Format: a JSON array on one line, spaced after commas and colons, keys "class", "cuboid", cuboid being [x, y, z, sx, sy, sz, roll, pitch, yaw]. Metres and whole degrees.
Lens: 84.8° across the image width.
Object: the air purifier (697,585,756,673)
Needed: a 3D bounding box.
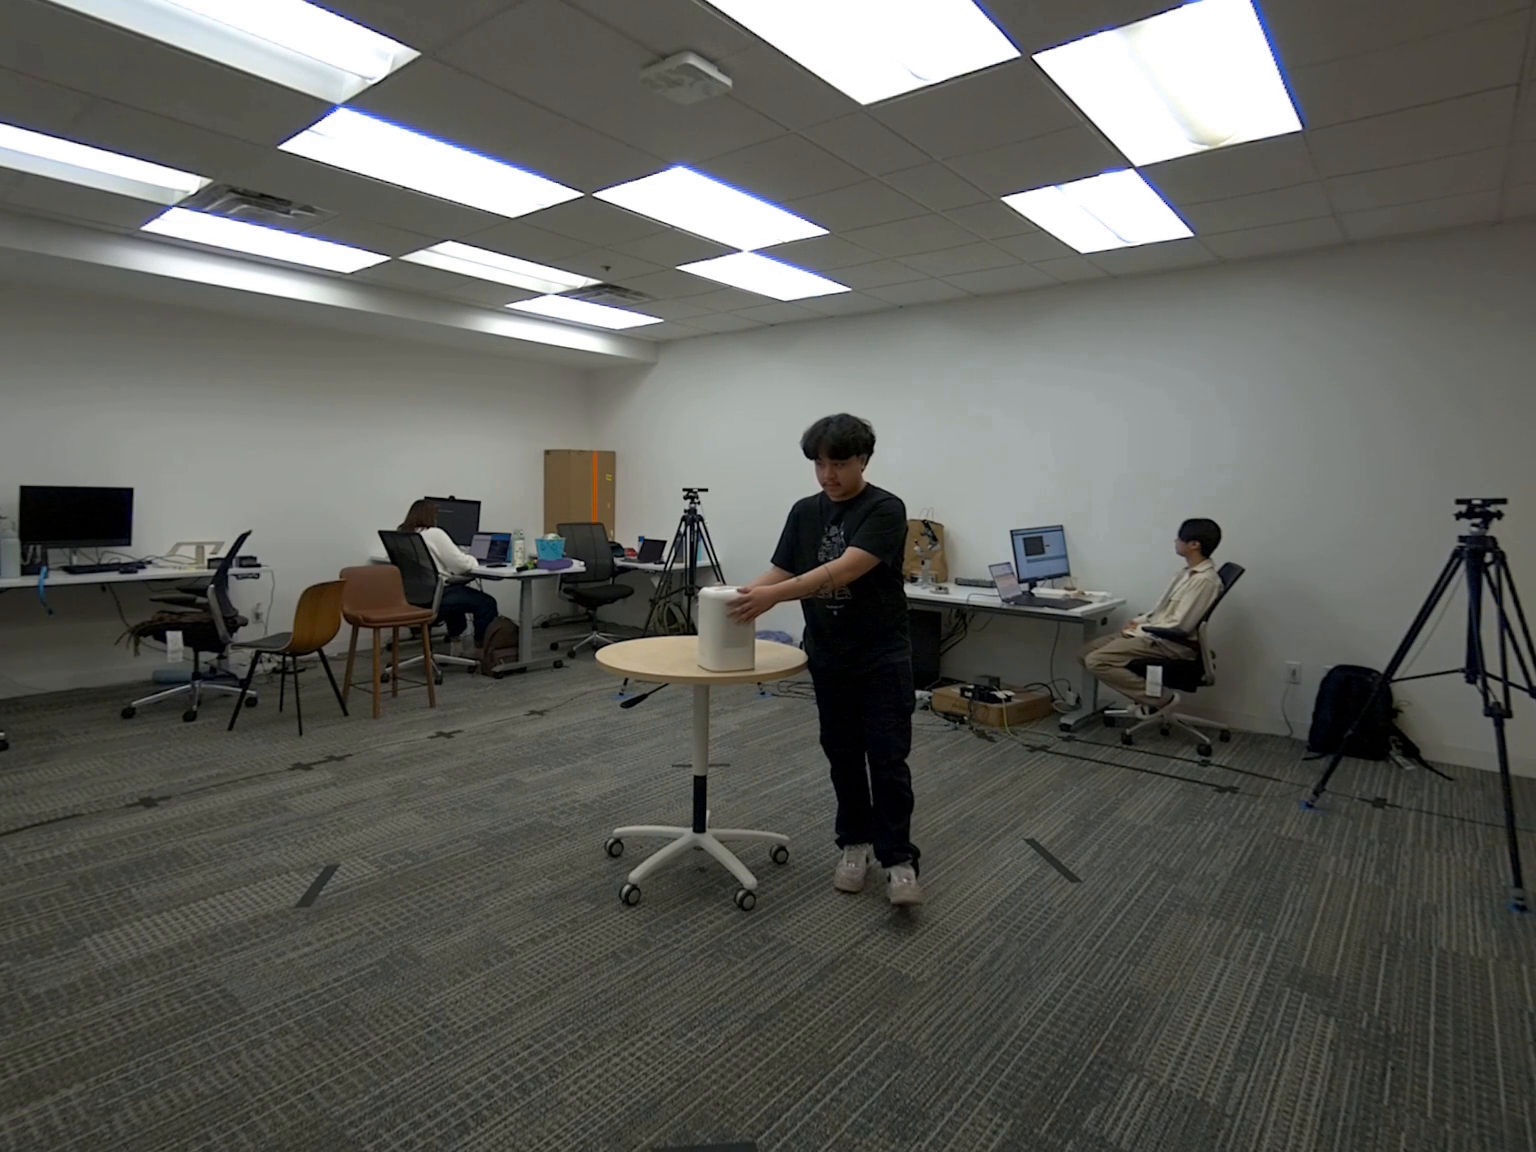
[{"class": "air purifier", "cuboid": [-0.154, 0.173, 2.851, 0.168, 0.265, 0.175, 0, 2, -20]}]
